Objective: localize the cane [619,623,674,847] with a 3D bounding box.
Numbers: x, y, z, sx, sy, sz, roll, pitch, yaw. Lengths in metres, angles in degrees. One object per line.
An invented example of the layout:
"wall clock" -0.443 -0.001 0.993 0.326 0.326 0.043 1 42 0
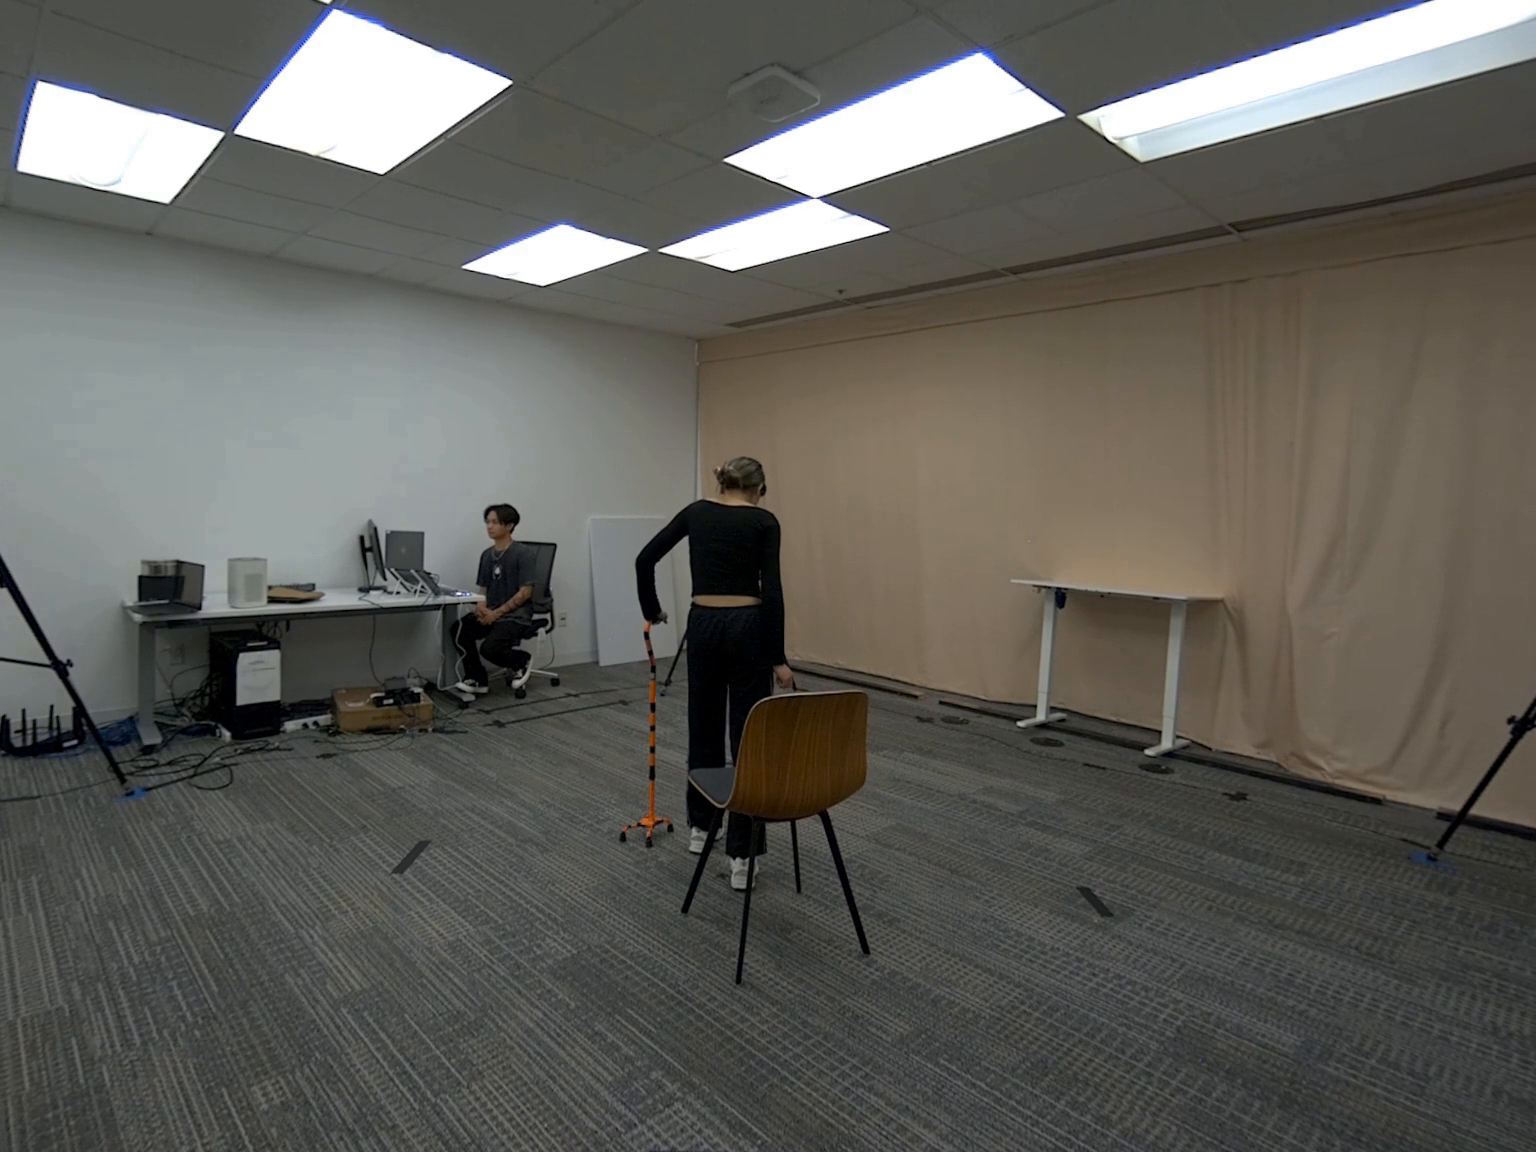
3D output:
"cane" -0.495 0.612 3.438 0.154 0.906 0.203 2 2 23
